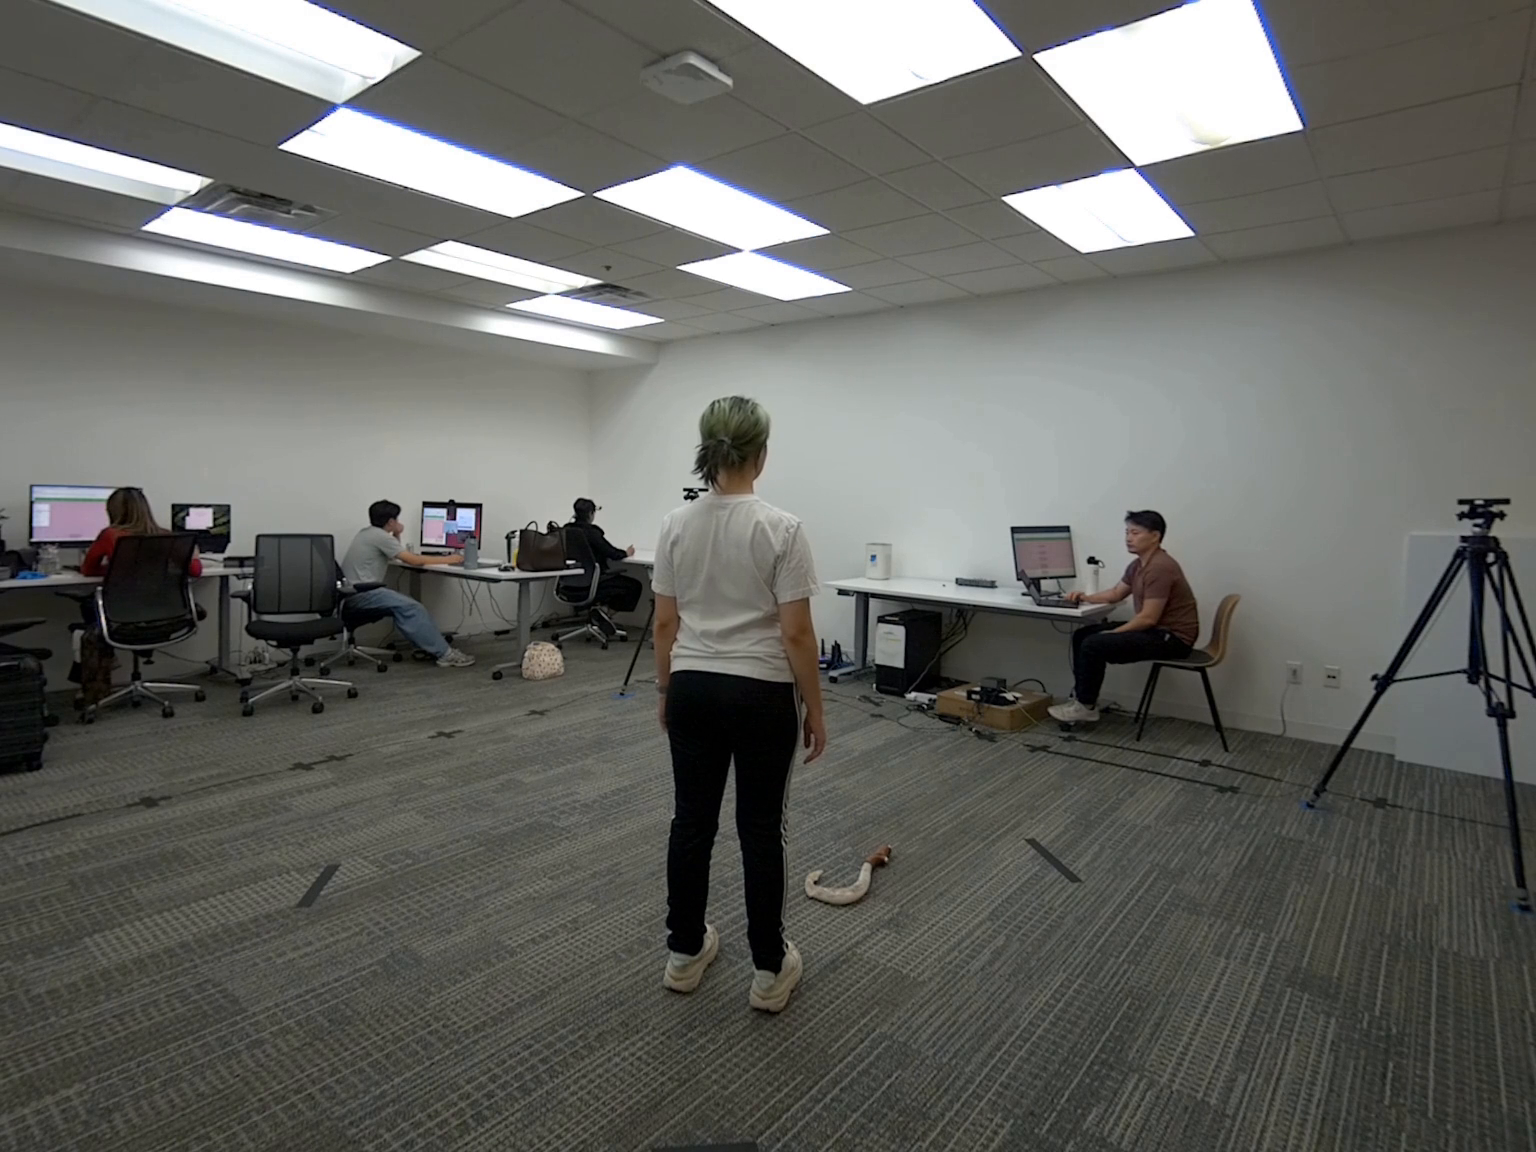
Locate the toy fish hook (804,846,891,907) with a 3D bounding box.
[{"bbox_3d":[0.291,1.061,3.082,0.231,0.048,0.494,7,7,29],"label":"toy fish hook"}]
